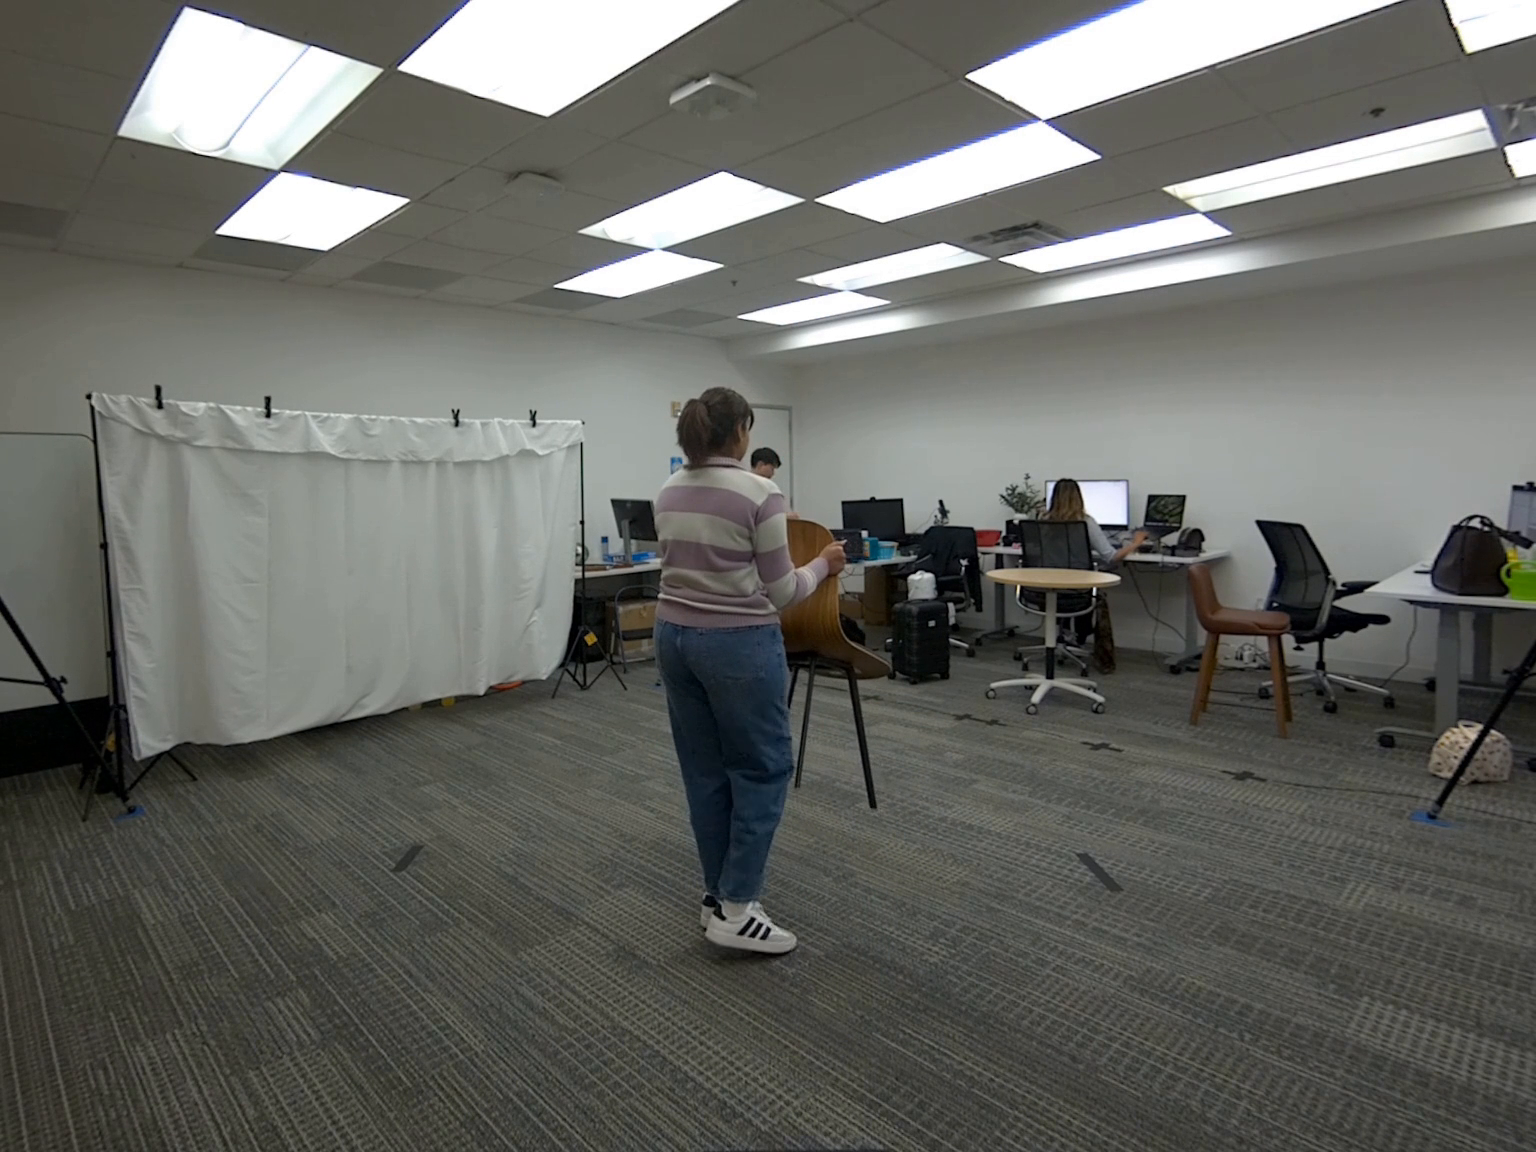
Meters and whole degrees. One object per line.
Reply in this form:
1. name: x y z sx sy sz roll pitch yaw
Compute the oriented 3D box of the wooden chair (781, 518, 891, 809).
1. wooden chair: 0.137 0.300 2.925 0.491 0.887 0.504 -4 -18 40
